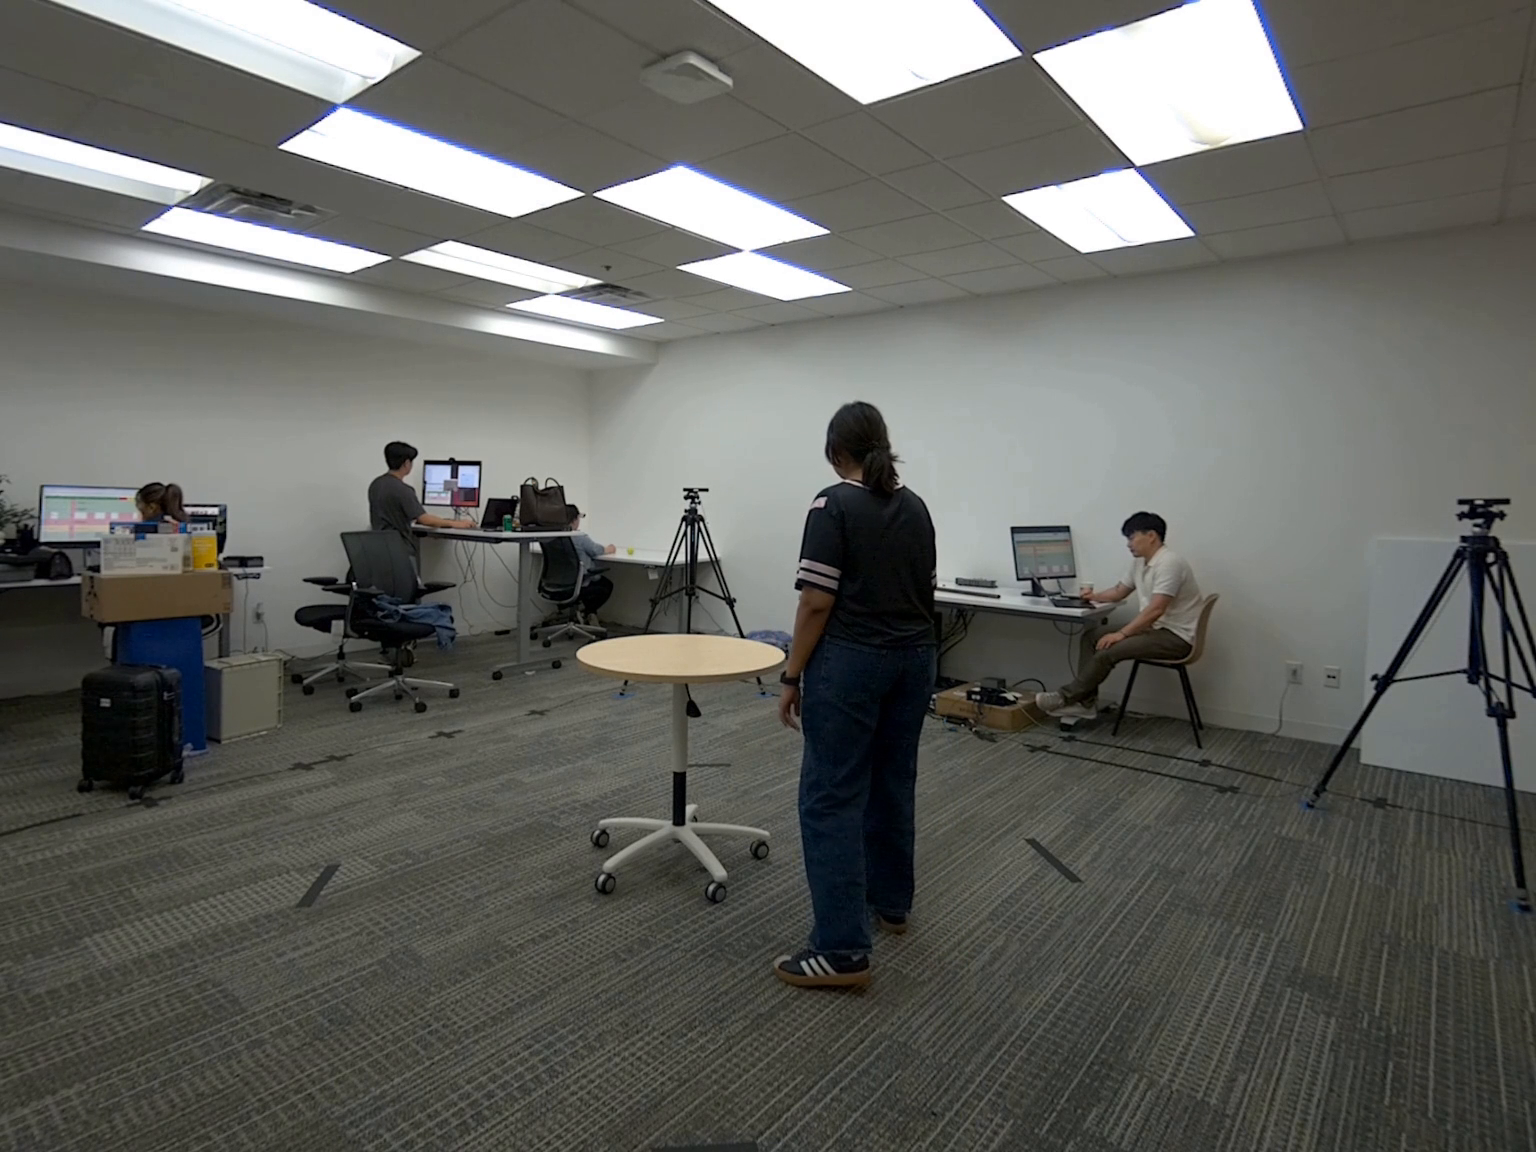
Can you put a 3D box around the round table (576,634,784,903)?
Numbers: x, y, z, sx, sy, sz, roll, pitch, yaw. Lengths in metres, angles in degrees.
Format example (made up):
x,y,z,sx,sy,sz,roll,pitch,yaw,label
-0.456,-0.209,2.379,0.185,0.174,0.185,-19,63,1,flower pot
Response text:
x,y,z,sx,sy,sz,roll,pitch,yaw,label
-0.338,0.674,3.153,0.763,0.792,0.767,1,4,-2,round table
